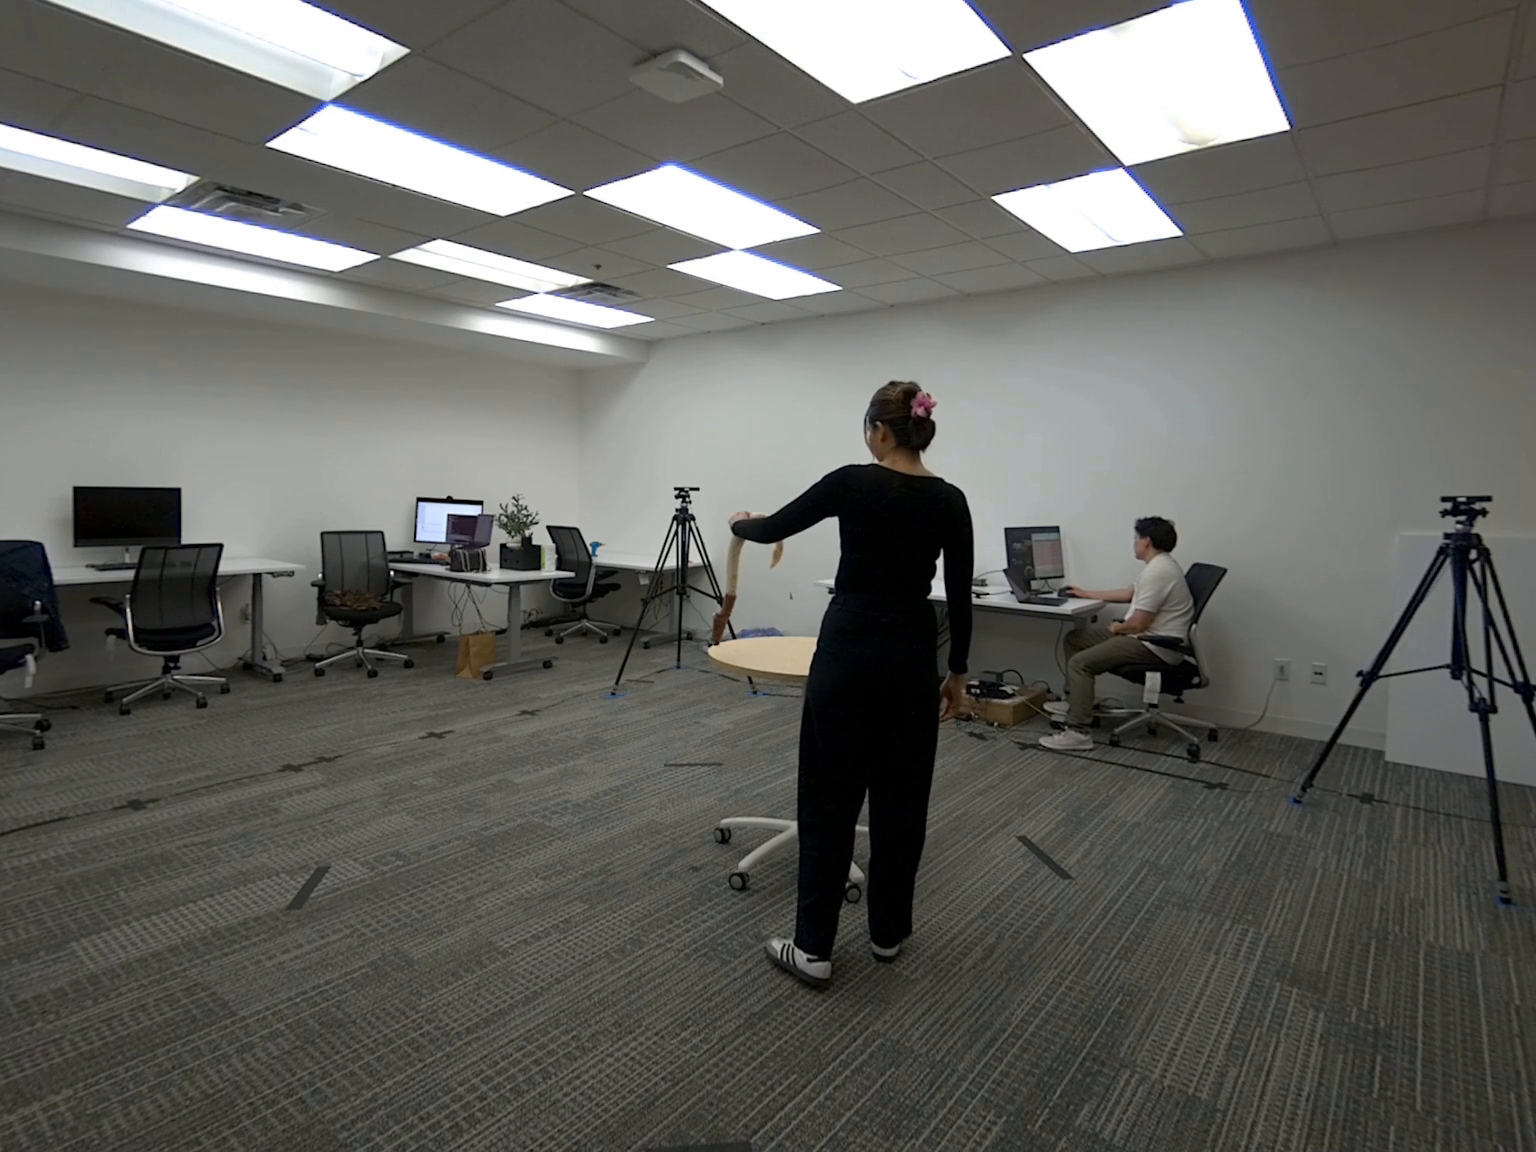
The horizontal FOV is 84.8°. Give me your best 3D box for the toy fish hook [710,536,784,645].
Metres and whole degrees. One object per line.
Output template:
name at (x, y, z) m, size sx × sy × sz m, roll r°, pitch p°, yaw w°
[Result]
toy fish hook at (-0.087, 0.028, 3.001) m, size 0.218 × 0.503 × 0.050 m, roll 12°, pitch 14°, yaw -26°
